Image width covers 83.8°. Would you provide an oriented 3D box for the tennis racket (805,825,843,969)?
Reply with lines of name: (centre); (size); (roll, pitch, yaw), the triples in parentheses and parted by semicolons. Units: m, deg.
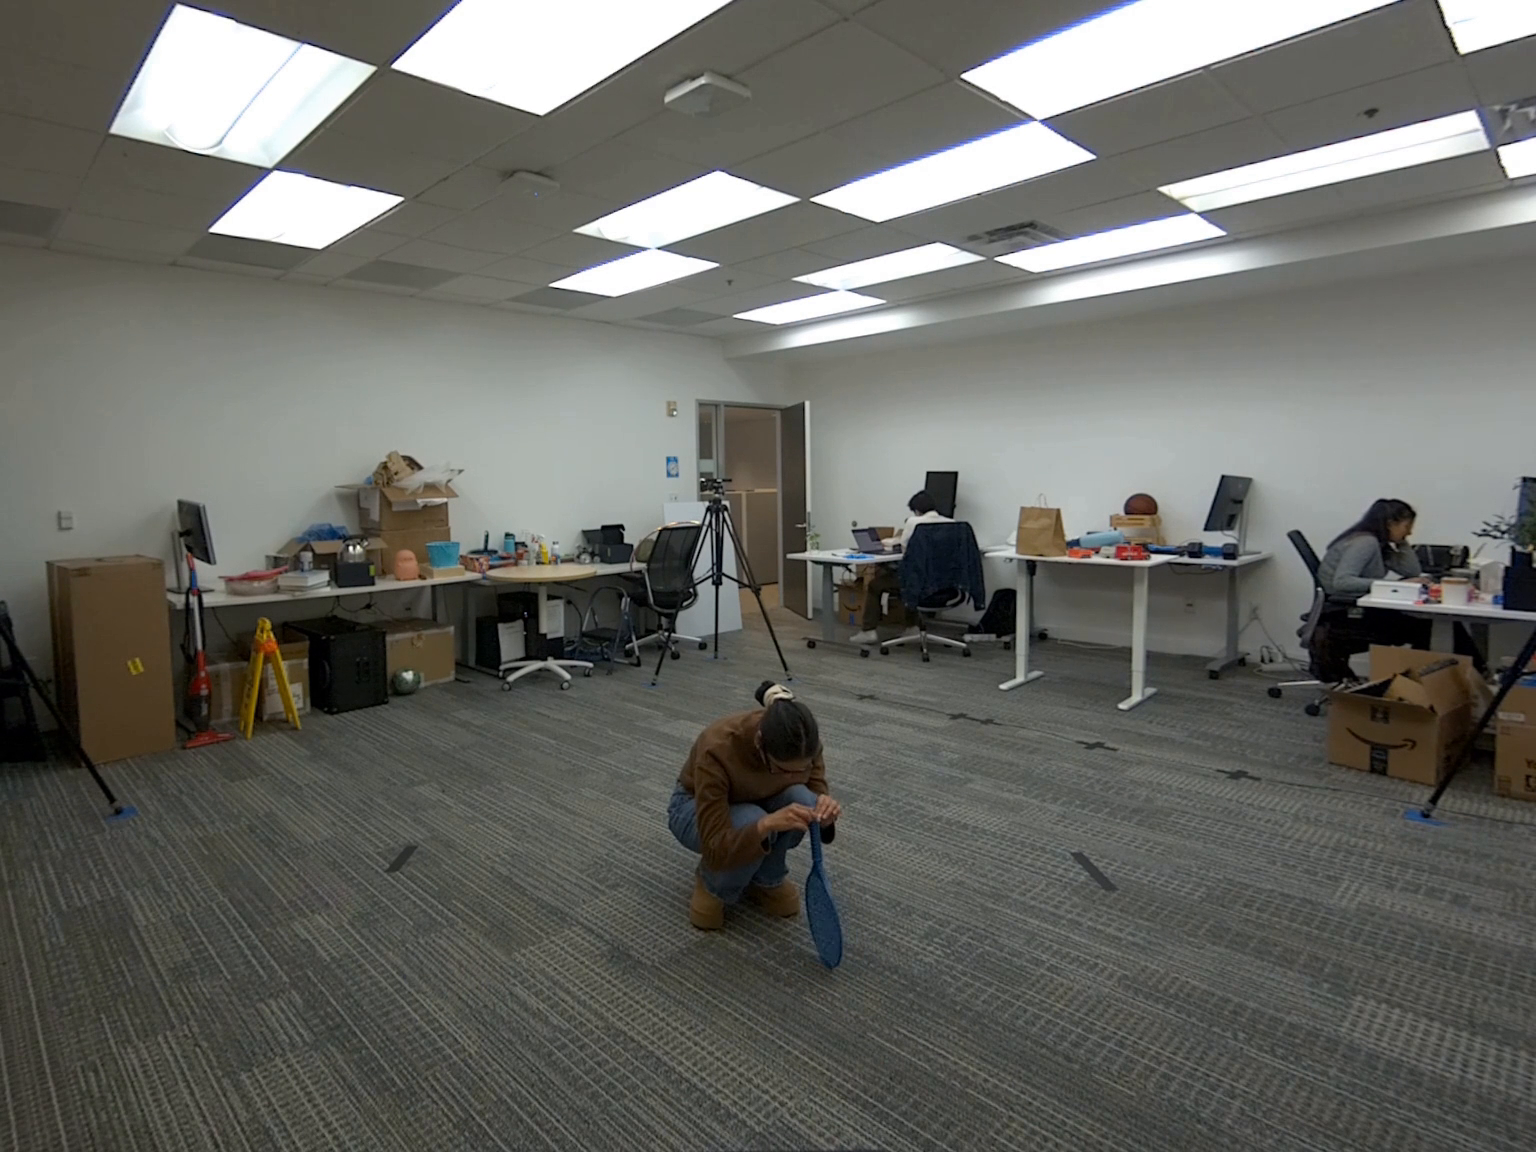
tennis racket: (0.154, 0.905, 2.444); (0.031, 0.432, 0.217); (-6, 1, -21)
